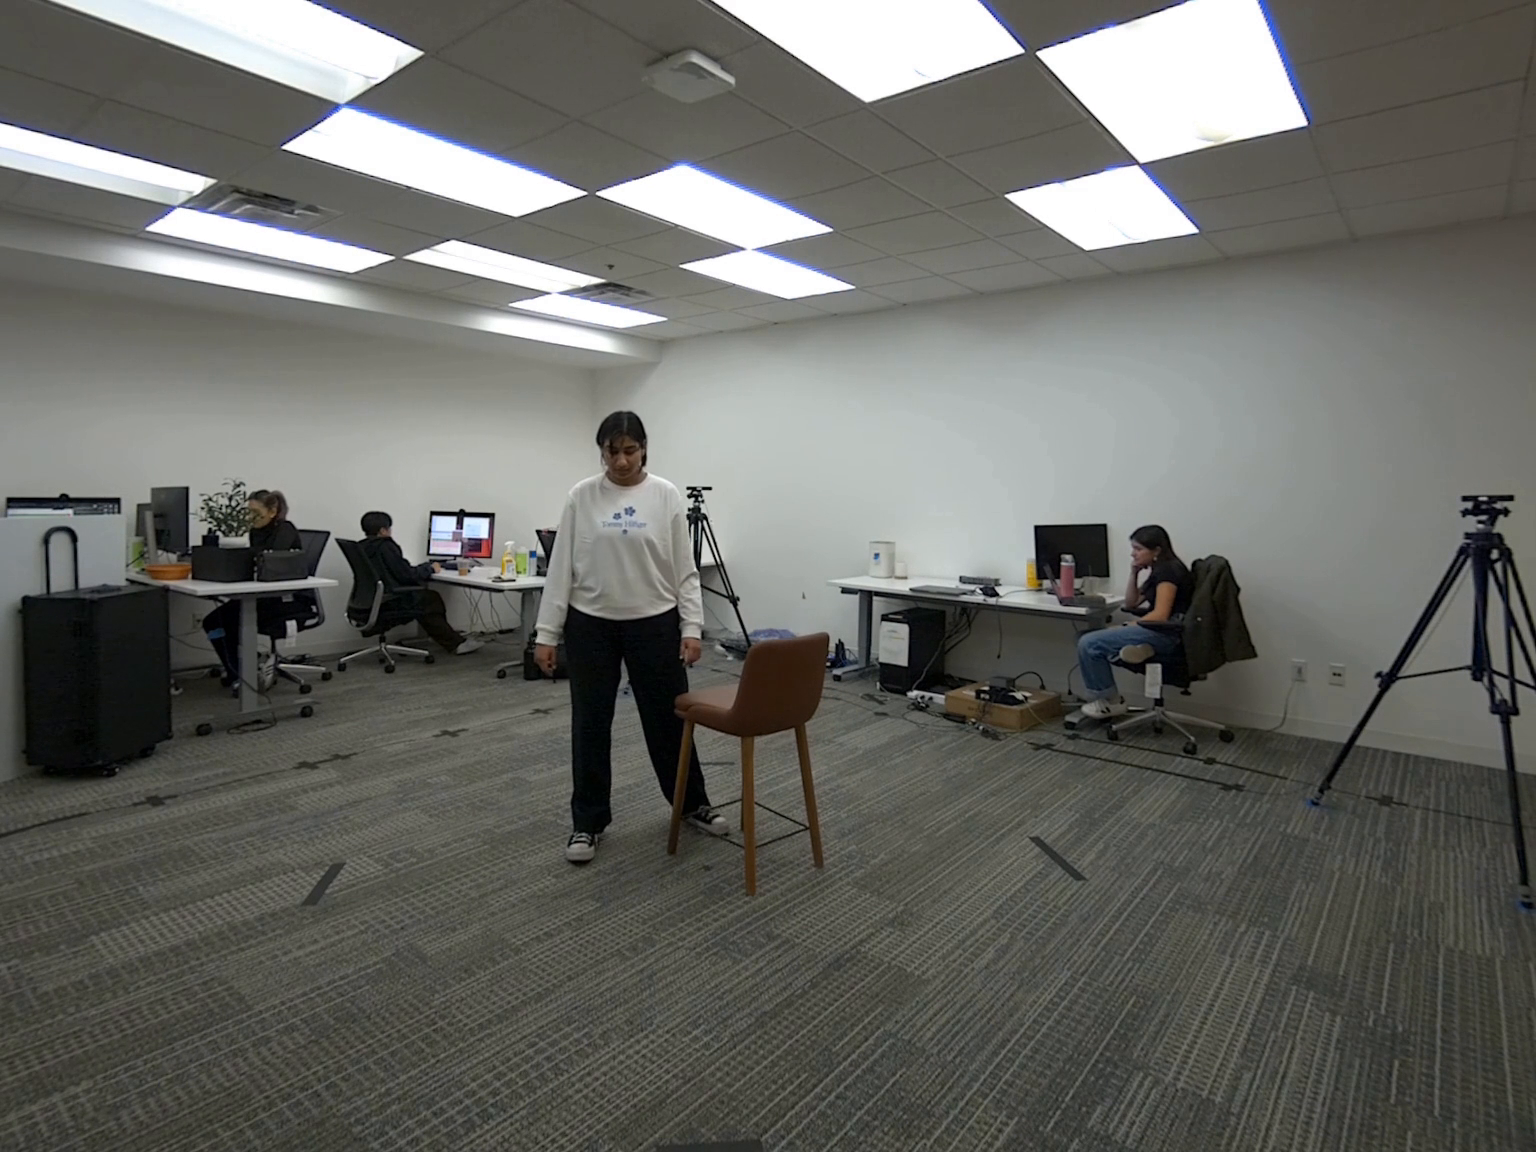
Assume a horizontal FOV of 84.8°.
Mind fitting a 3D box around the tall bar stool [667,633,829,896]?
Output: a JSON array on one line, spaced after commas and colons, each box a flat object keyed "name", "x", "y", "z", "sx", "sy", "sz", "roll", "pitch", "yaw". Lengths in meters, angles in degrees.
[{"name": "tall bar stool", "x": -0.069, "y": 0.627, "z": 3.158, "sx": 0.442, "sy": 0.886, "sz": 0.484, "roll": -1, "pitch": 6, "yaw": -43}]
